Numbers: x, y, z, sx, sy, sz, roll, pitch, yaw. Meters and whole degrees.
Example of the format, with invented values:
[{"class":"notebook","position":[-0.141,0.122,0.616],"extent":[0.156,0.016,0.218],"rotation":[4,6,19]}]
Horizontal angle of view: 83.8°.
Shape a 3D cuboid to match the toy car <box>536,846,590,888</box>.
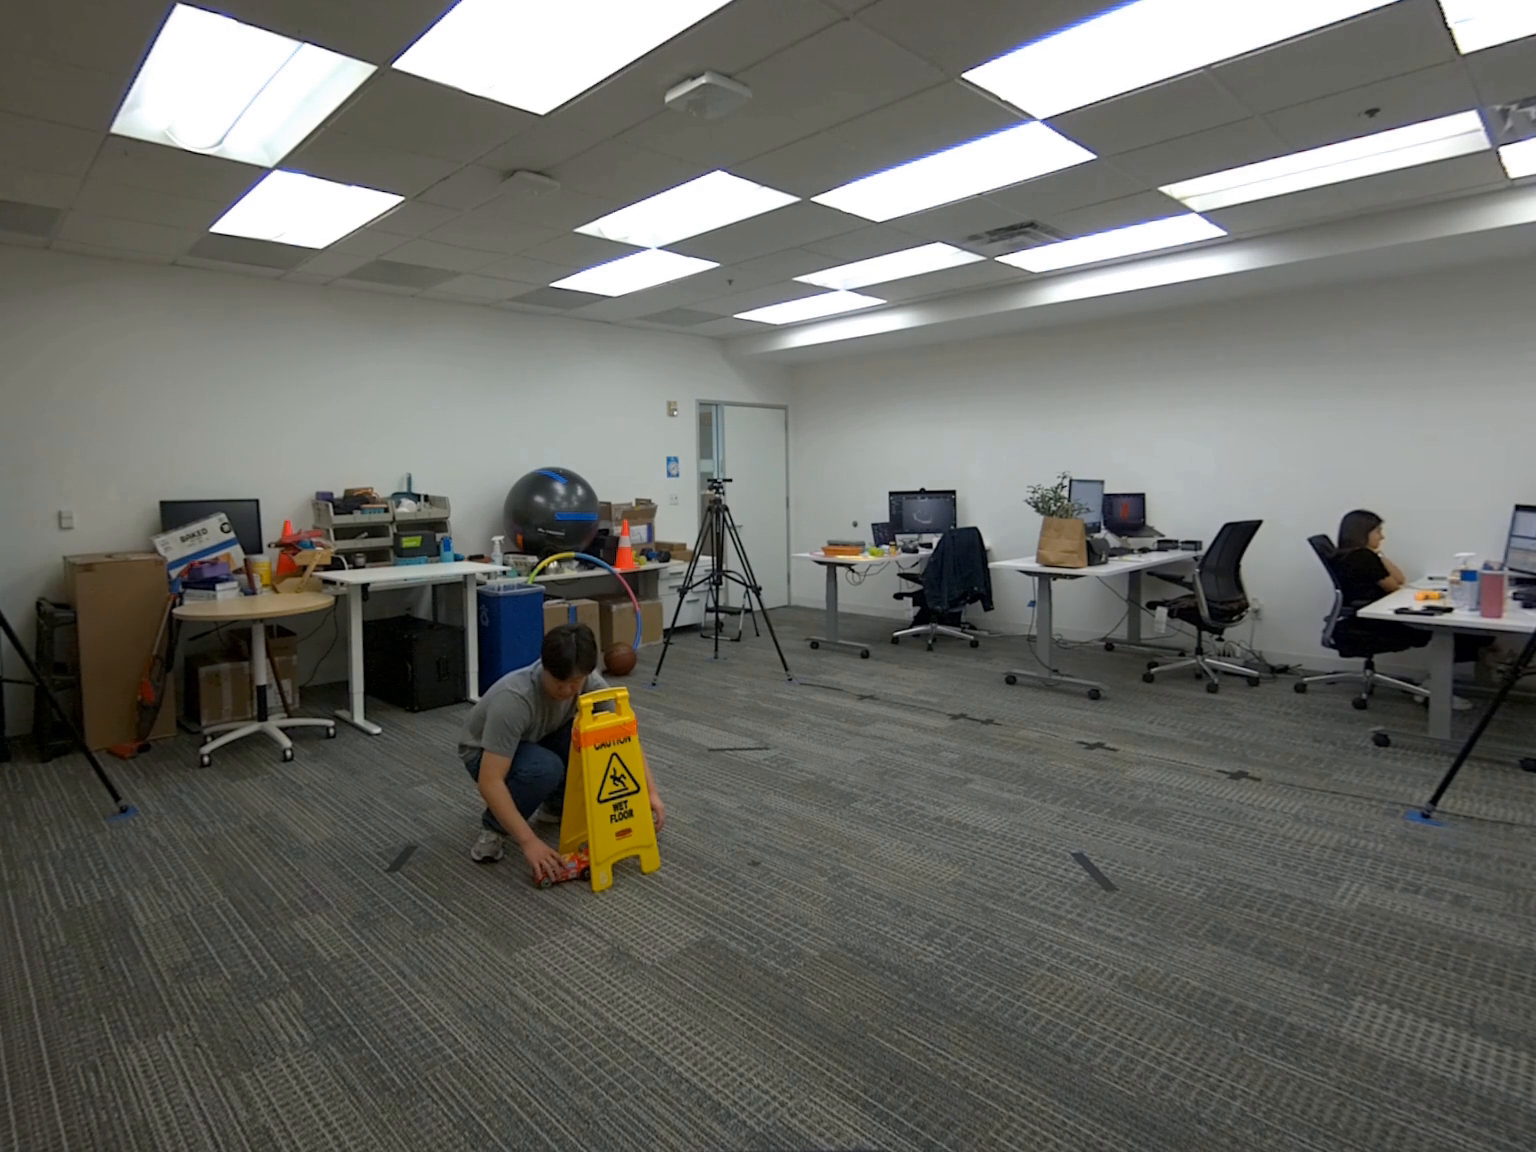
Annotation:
[{"class":"toy car","position":[-0.716,1.040,3.021],"extent":[0.251,0.082,0.133],"rotation":[-16,10,-20]}]
